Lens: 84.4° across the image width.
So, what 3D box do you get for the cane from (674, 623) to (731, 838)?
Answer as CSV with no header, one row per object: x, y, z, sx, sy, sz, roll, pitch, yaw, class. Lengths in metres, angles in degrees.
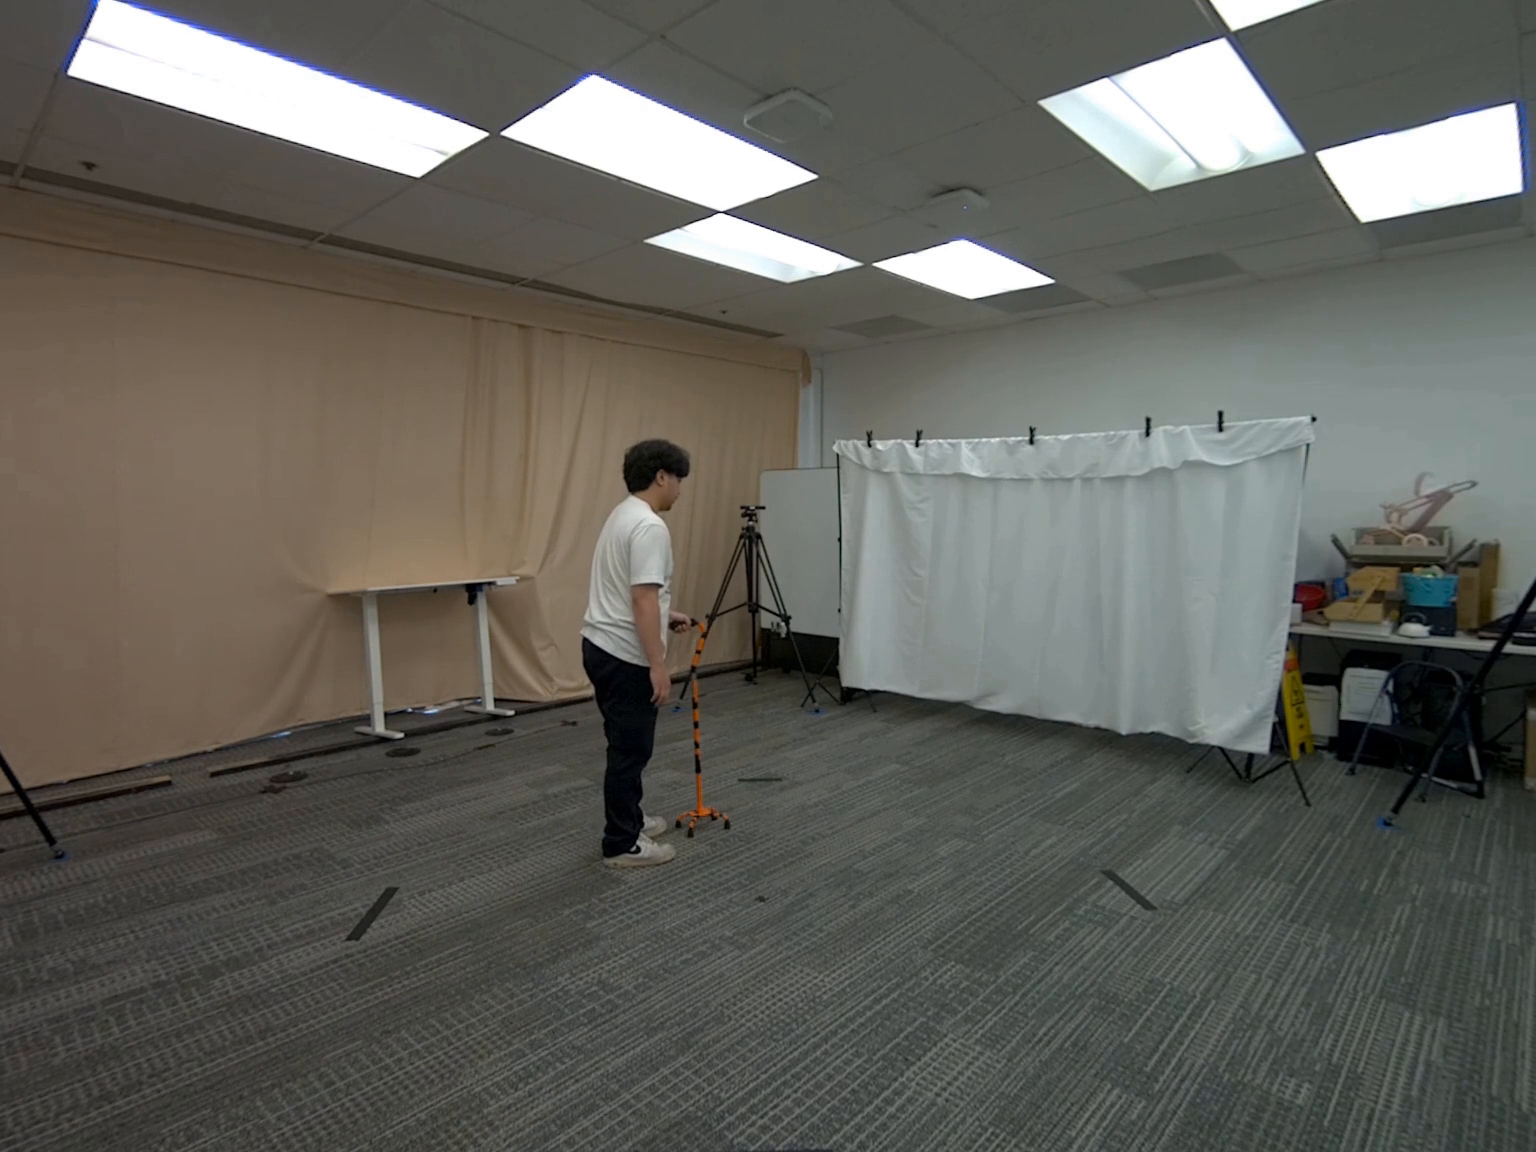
-0.298,0.639,3.620,0.201,0.906,0.156,-4,3,-28,cane
